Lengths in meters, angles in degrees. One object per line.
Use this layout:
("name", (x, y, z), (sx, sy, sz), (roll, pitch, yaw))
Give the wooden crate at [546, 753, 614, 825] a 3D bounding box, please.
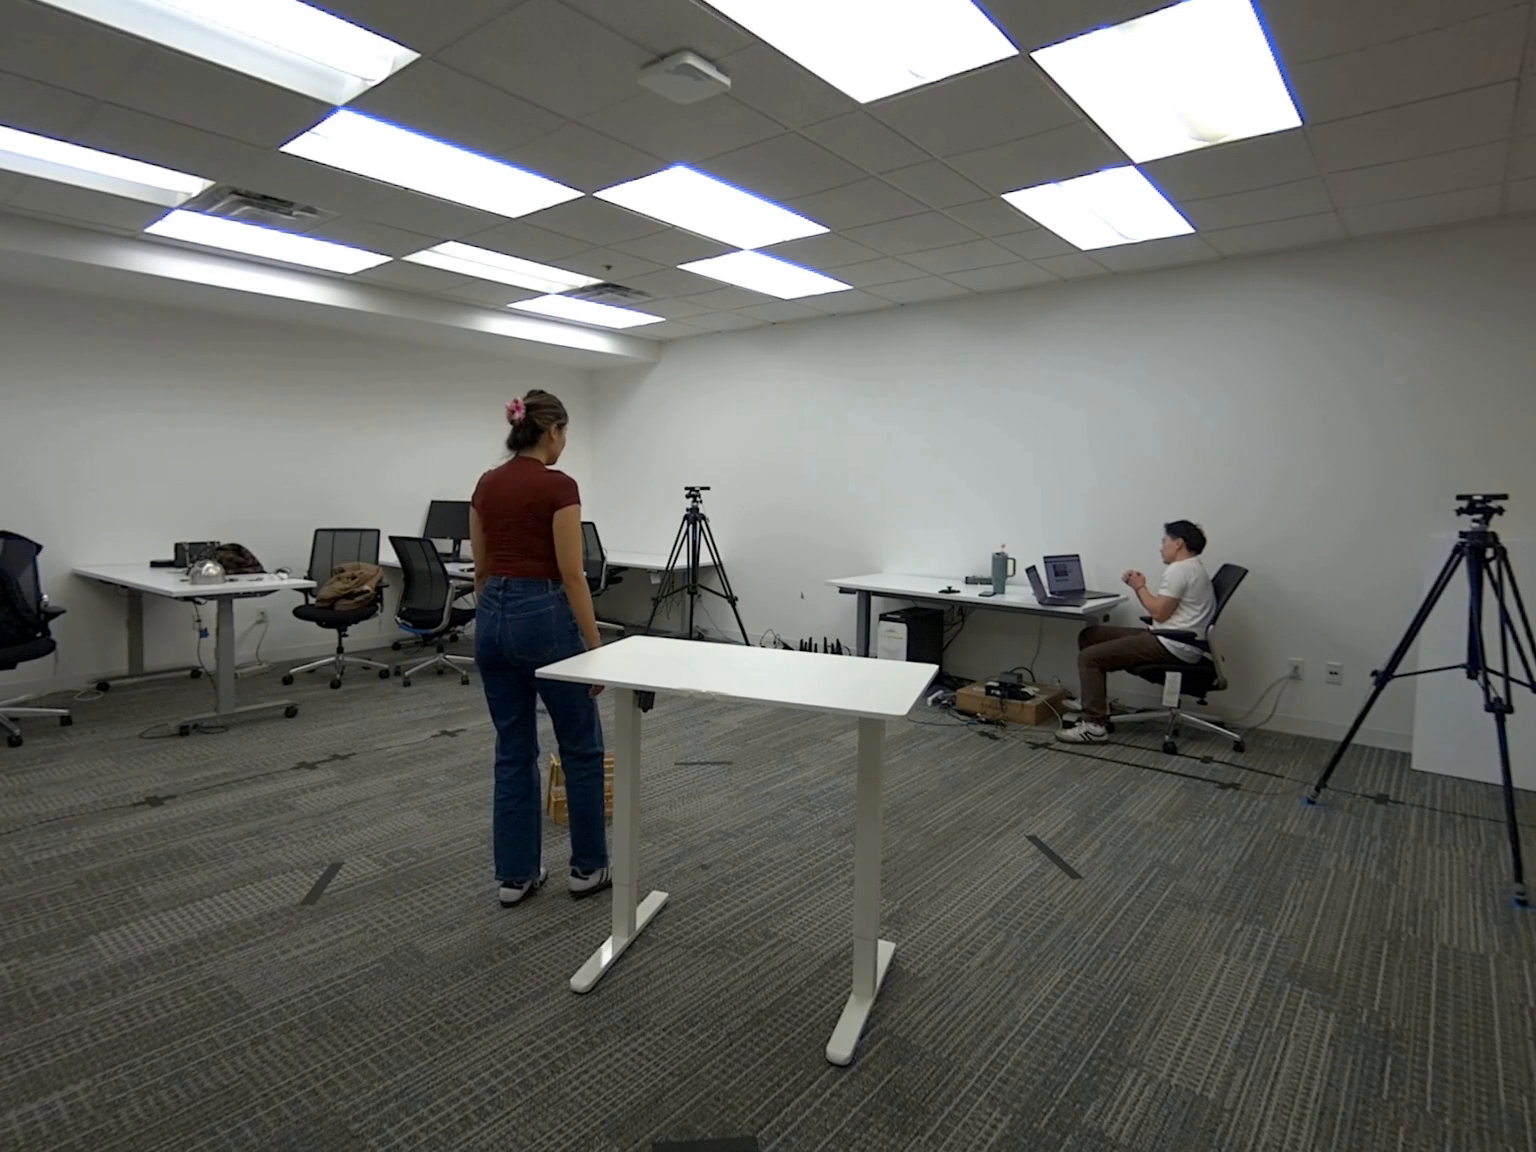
("wooden crate", (-0.799, 0.868, 3.643), (0.318, 0.272, 0.310), (-1, 5, -22))
